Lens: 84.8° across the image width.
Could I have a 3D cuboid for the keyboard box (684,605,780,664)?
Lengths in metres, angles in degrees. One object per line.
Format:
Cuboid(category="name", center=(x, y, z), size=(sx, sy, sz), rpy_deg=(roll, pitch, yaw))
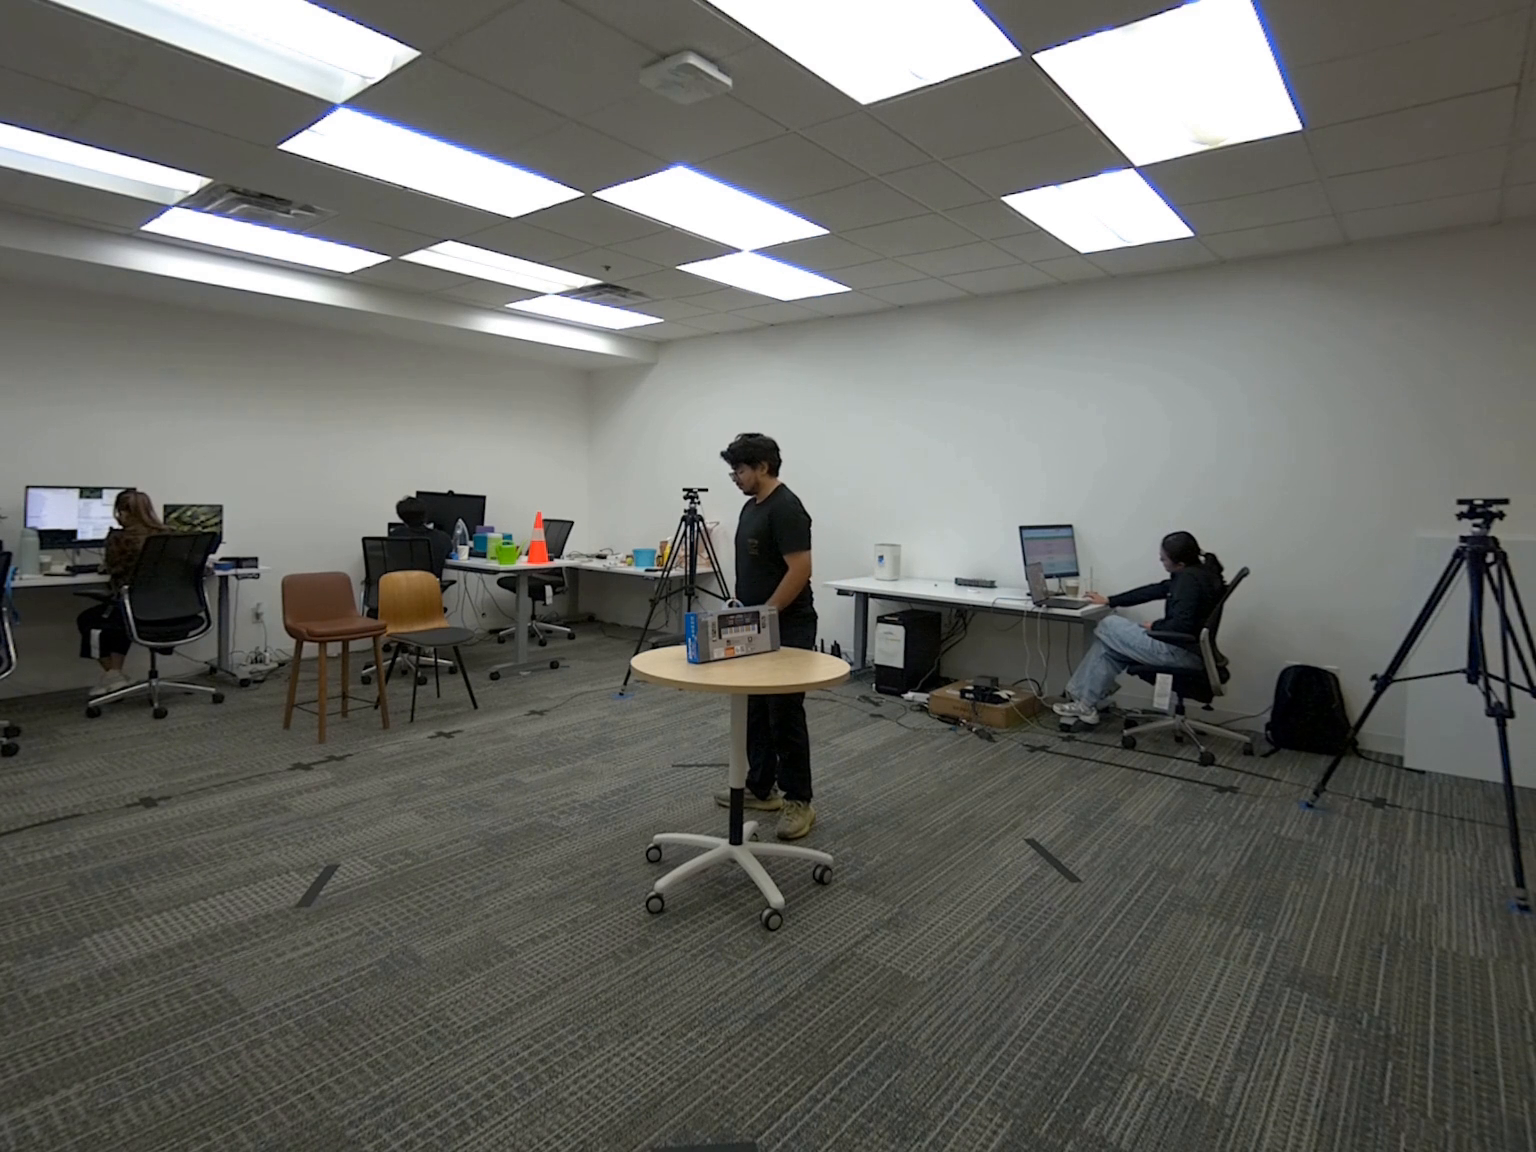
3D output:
Cuboid(category="keyboard box", center=(-0.129, 0.205, 3.092), size=(0.061, 0.176, 0.423), rpy_deg=(-4, 0, 43))
